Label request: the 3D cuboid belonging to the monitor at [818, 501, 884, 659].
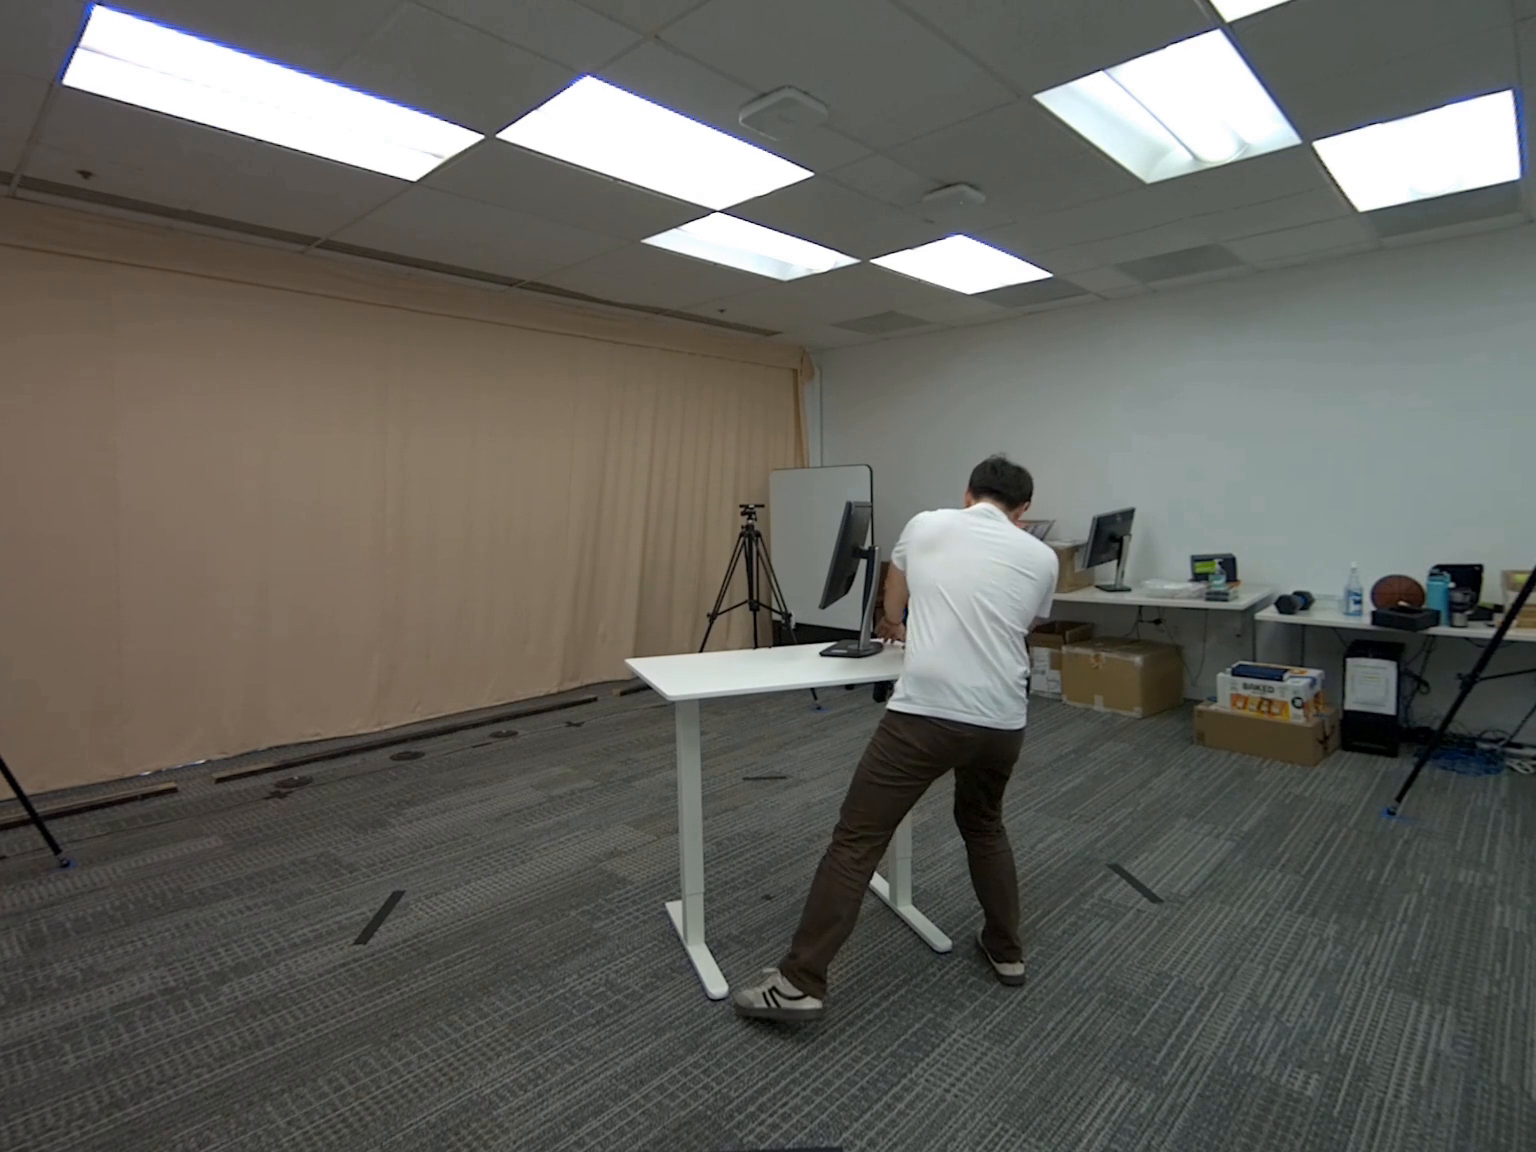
[{"bbox_3d":[0.302,0.005,2.880,0.190,0.521,0.532,2,5,13],"label":"monitor"}]
